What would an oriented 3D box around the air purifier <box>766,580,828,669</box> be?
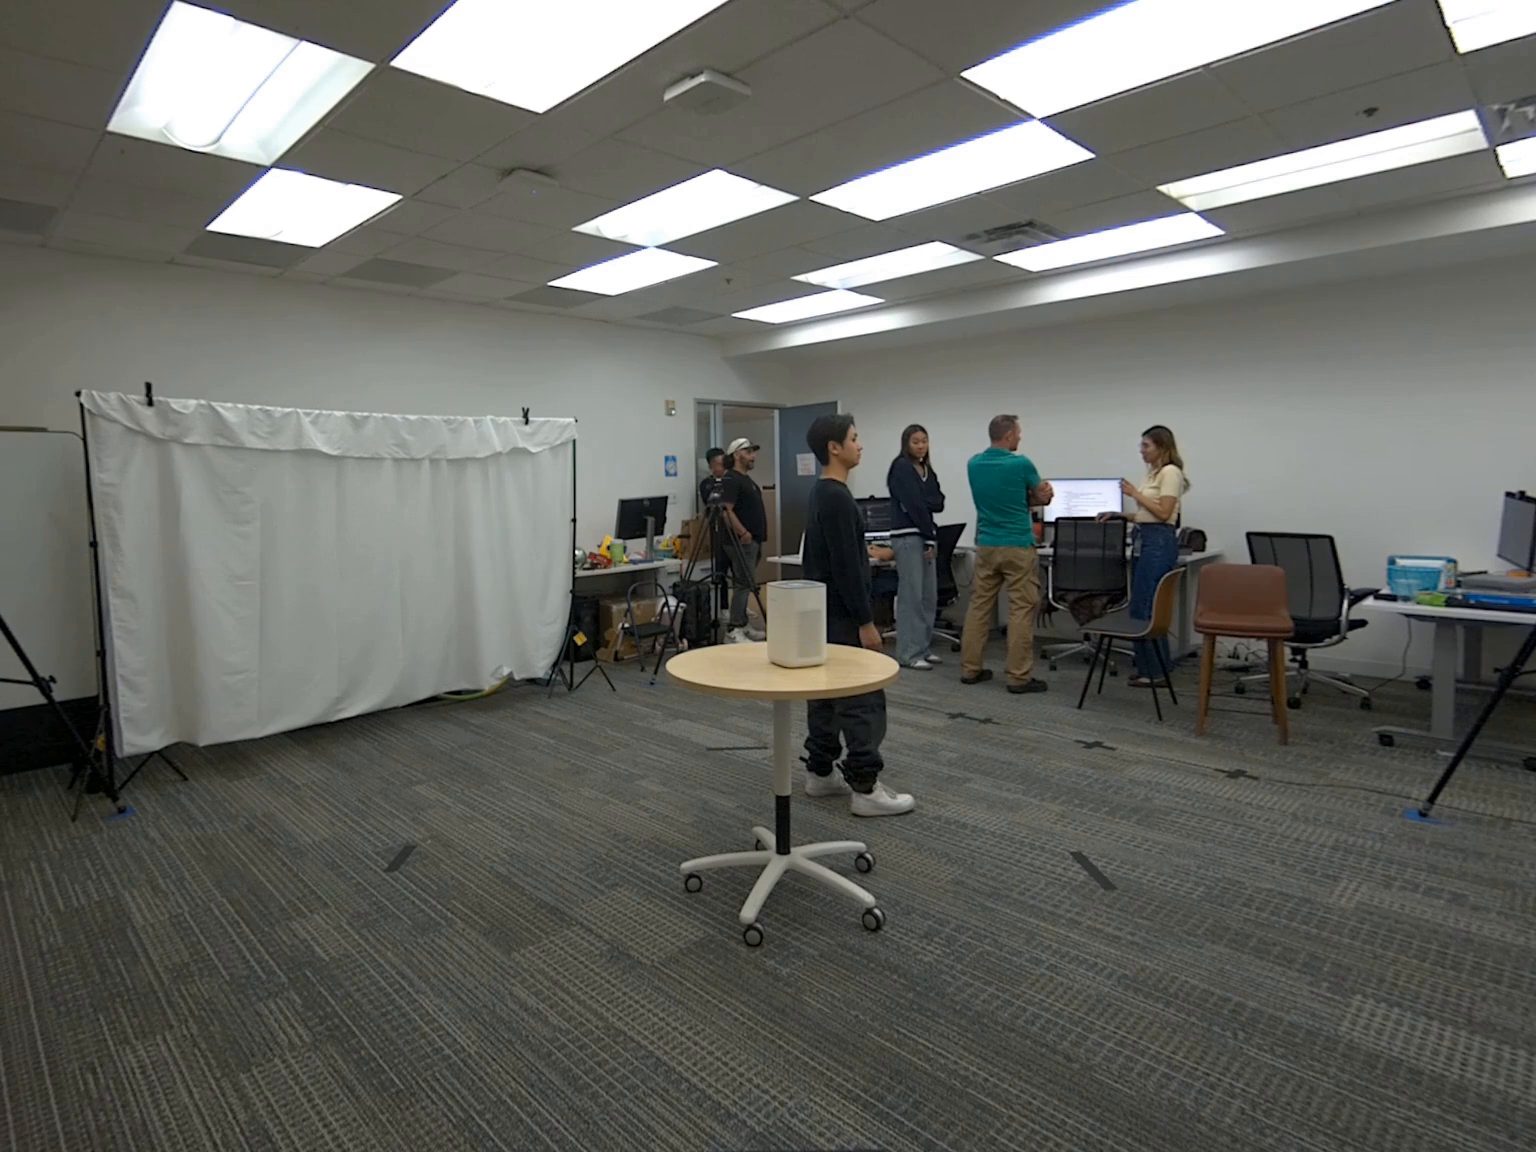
[{"bbox_3d":[0.093,0.156,2.819,0.168,0.264,0.175,-3,4,-29],"label":"air purifier"}]
